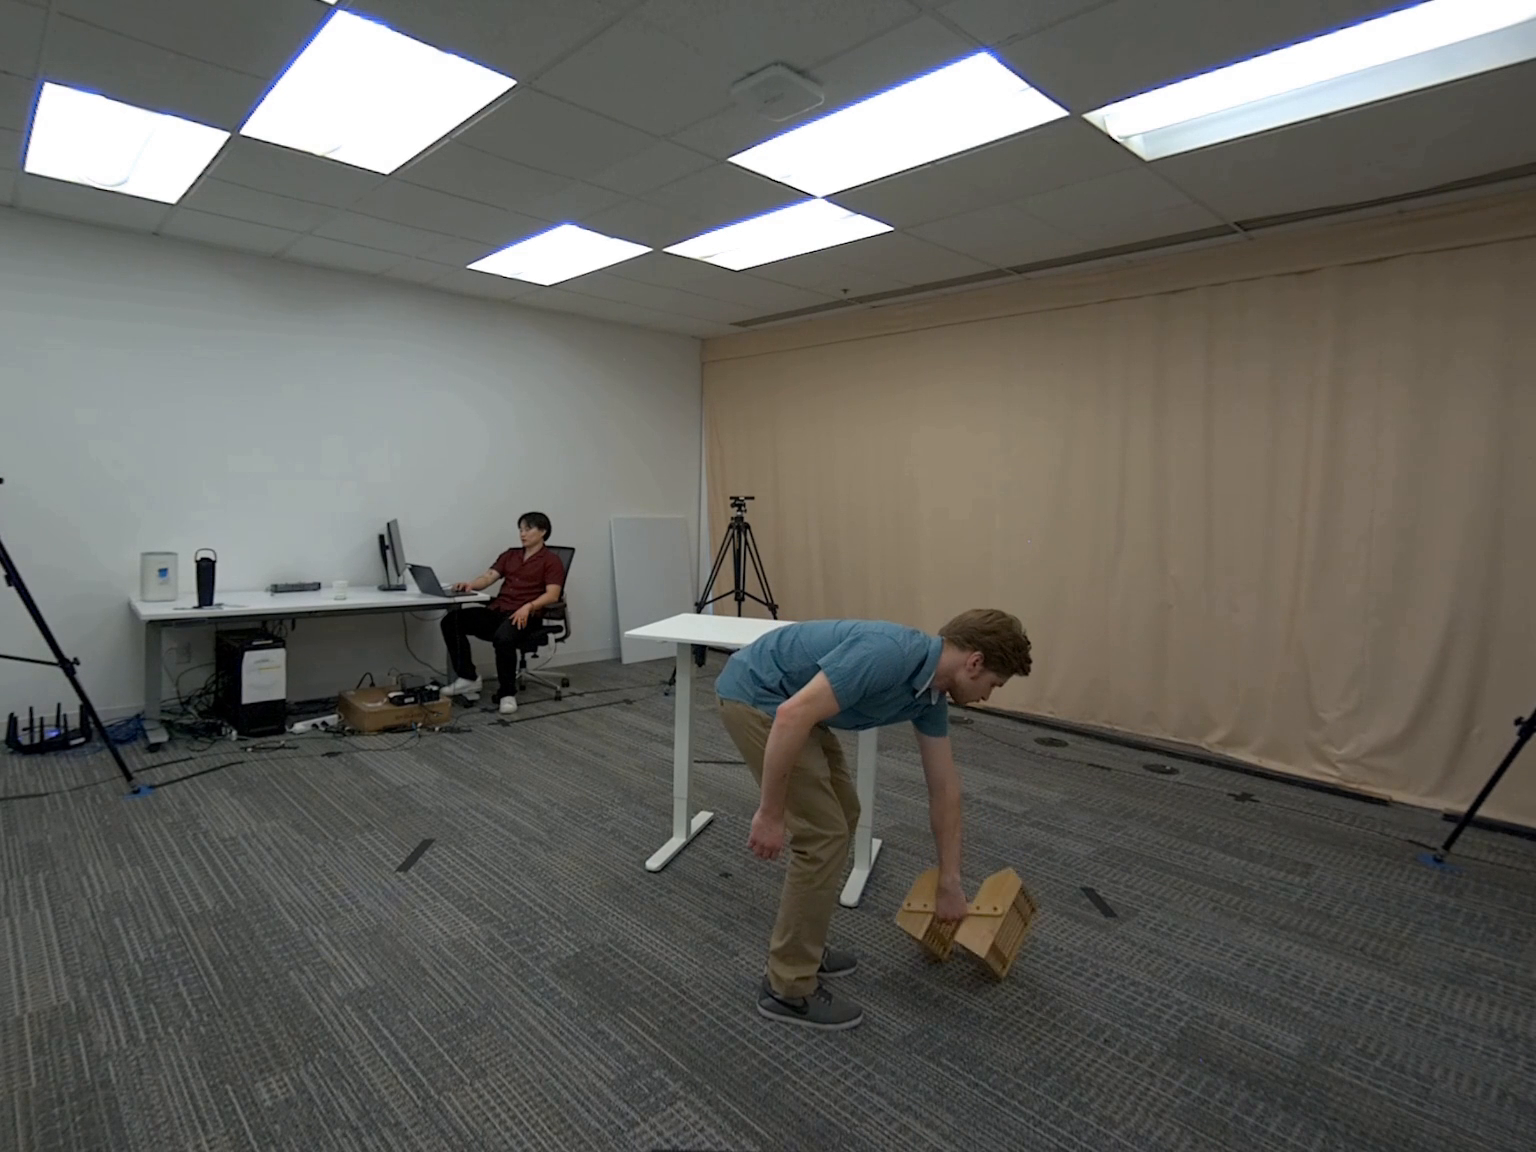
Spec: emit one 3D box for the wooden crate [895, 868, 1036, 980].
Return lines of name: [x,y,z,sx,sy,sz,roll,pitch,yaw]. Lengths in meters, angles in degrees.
wooden crate: [0.575,0.985,2.475,0.281,0.303,0.314,21,-23,38]
